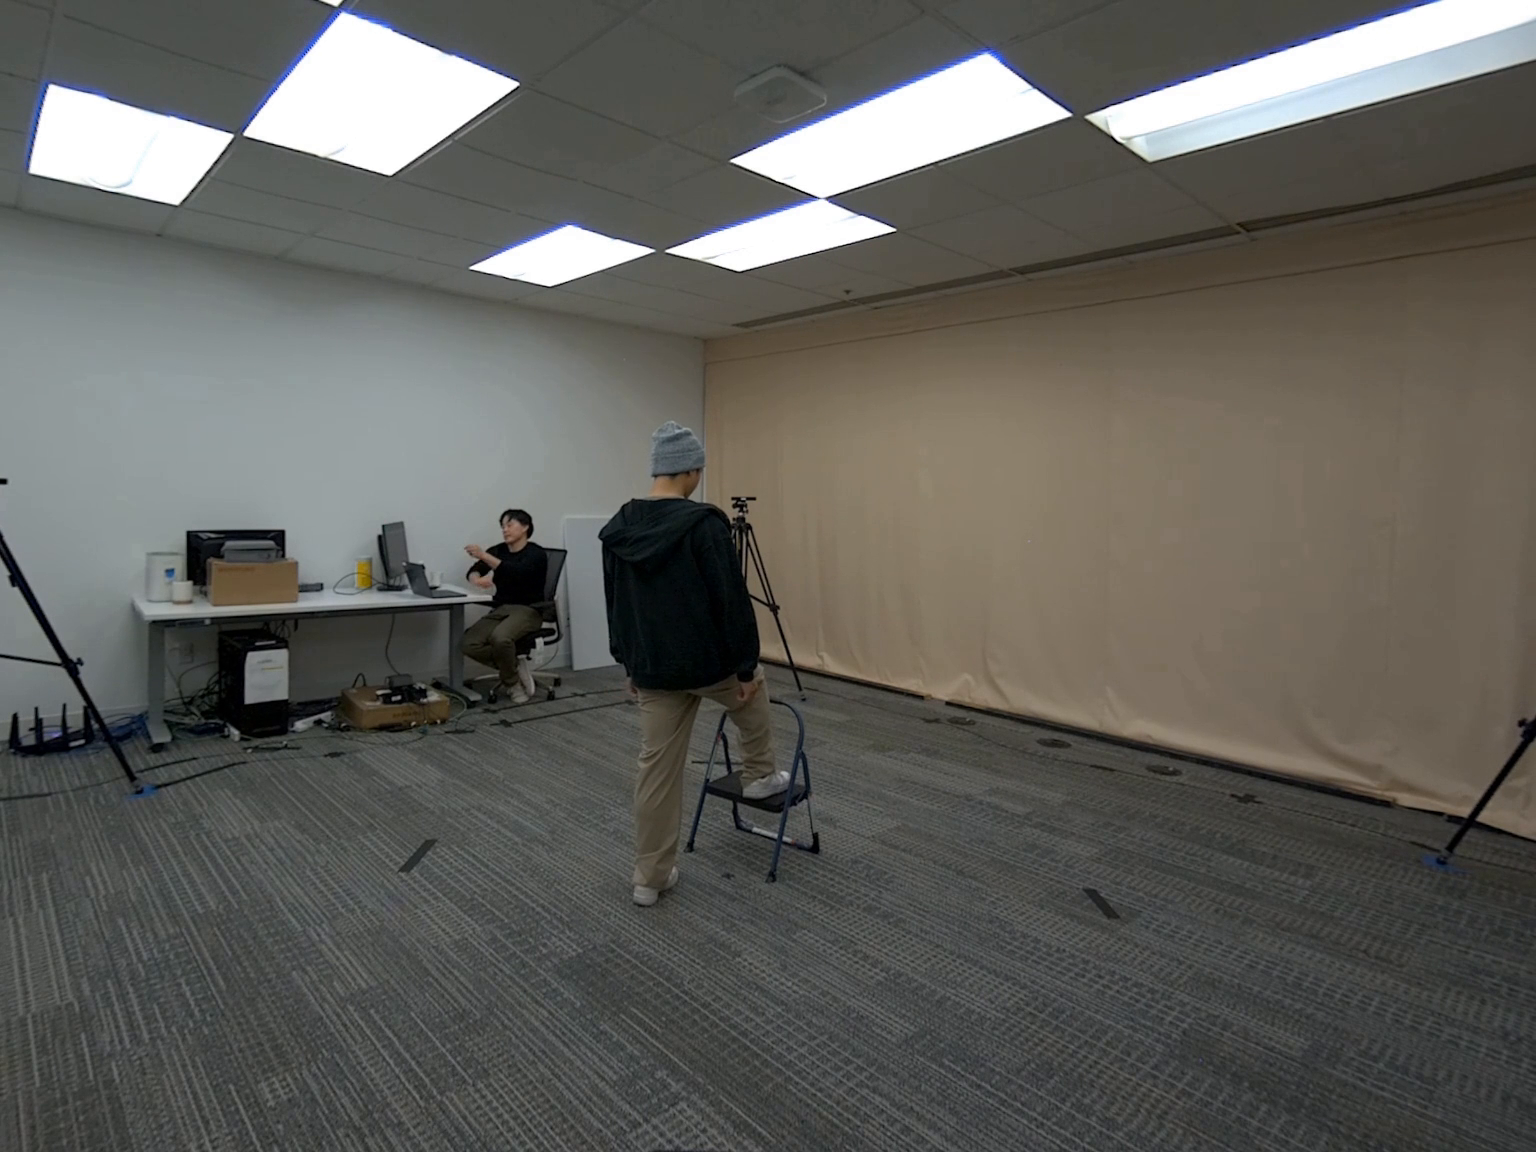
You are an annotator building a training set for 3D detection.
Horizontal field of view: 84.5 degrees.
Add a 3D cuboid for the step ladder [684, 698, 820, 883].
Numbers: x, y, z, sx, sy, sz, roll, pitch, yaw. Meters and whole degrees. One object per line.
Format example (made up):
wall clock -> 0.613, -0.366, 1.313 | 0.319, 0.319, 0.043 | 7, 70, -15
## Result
step ladder -> -0.054, 0.788, 3.307 | 0.441, 0.605, 0.341 | 4, 4, 36
